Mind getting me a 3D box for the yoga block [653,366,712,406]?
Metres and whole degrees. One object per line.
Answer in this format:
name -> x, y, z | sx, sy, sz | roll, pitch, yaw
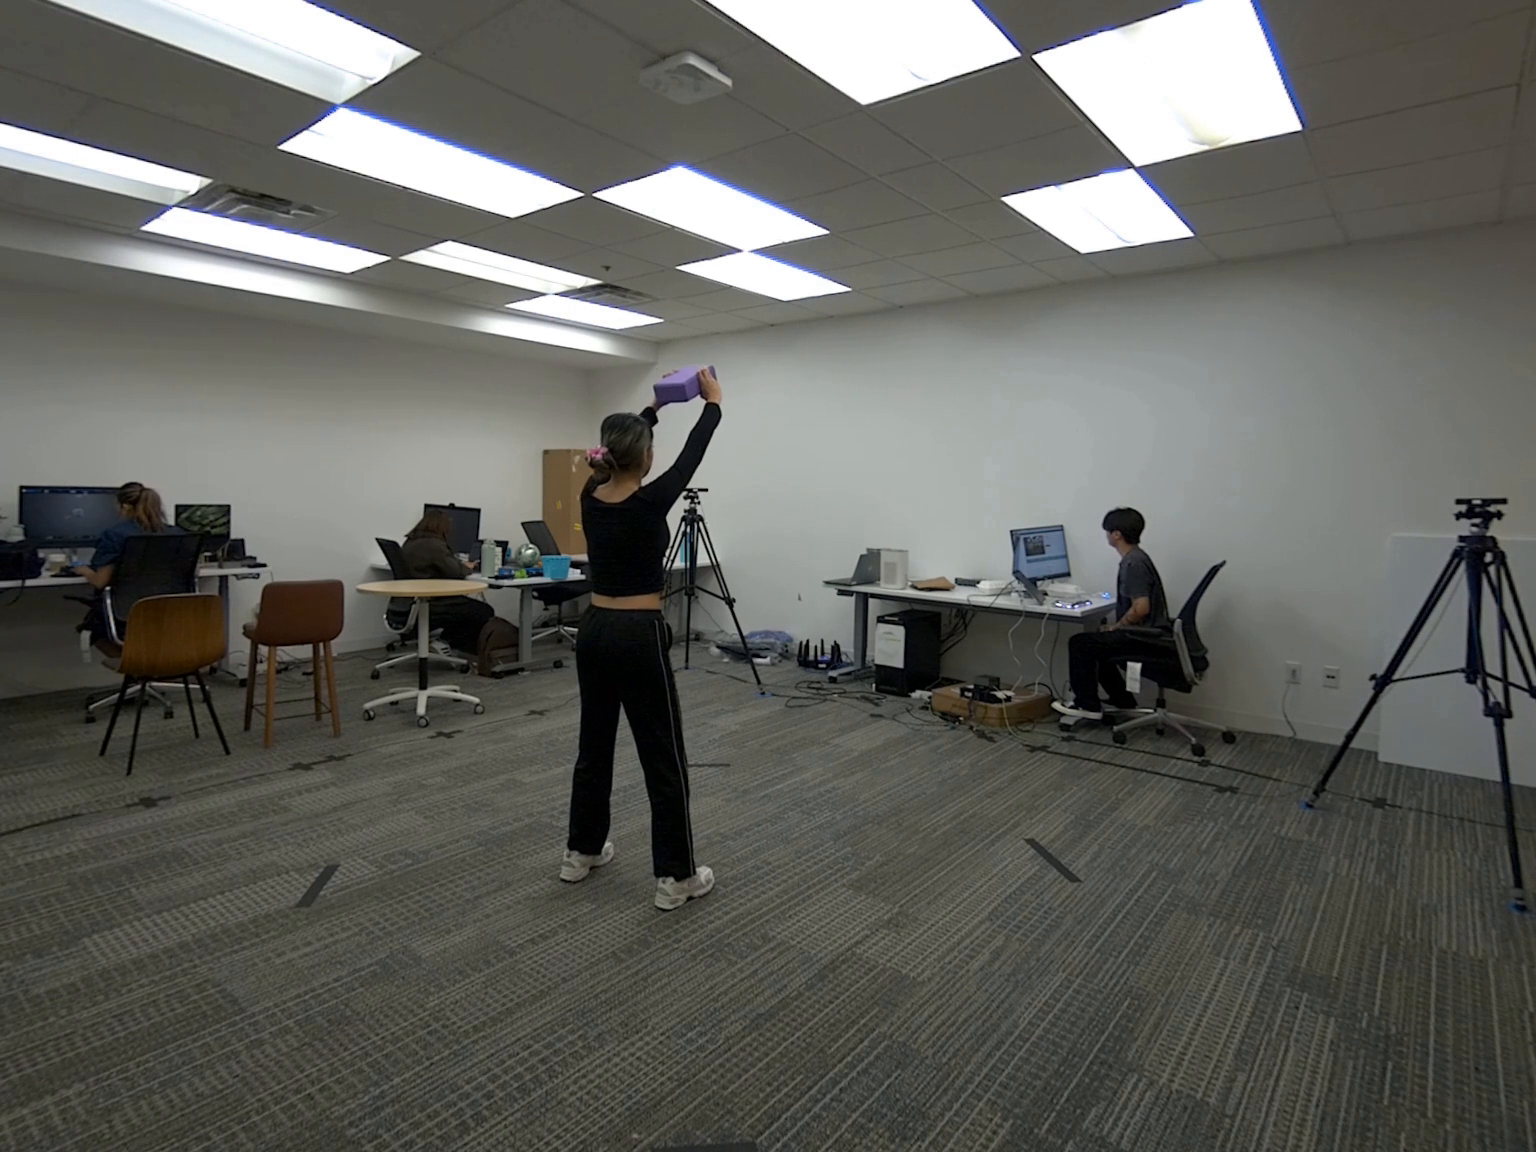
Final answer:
yoga block -> -0.326, -0.736, 3.244 | 0.153, 0.074, 0.229 | 4, 31, 30
